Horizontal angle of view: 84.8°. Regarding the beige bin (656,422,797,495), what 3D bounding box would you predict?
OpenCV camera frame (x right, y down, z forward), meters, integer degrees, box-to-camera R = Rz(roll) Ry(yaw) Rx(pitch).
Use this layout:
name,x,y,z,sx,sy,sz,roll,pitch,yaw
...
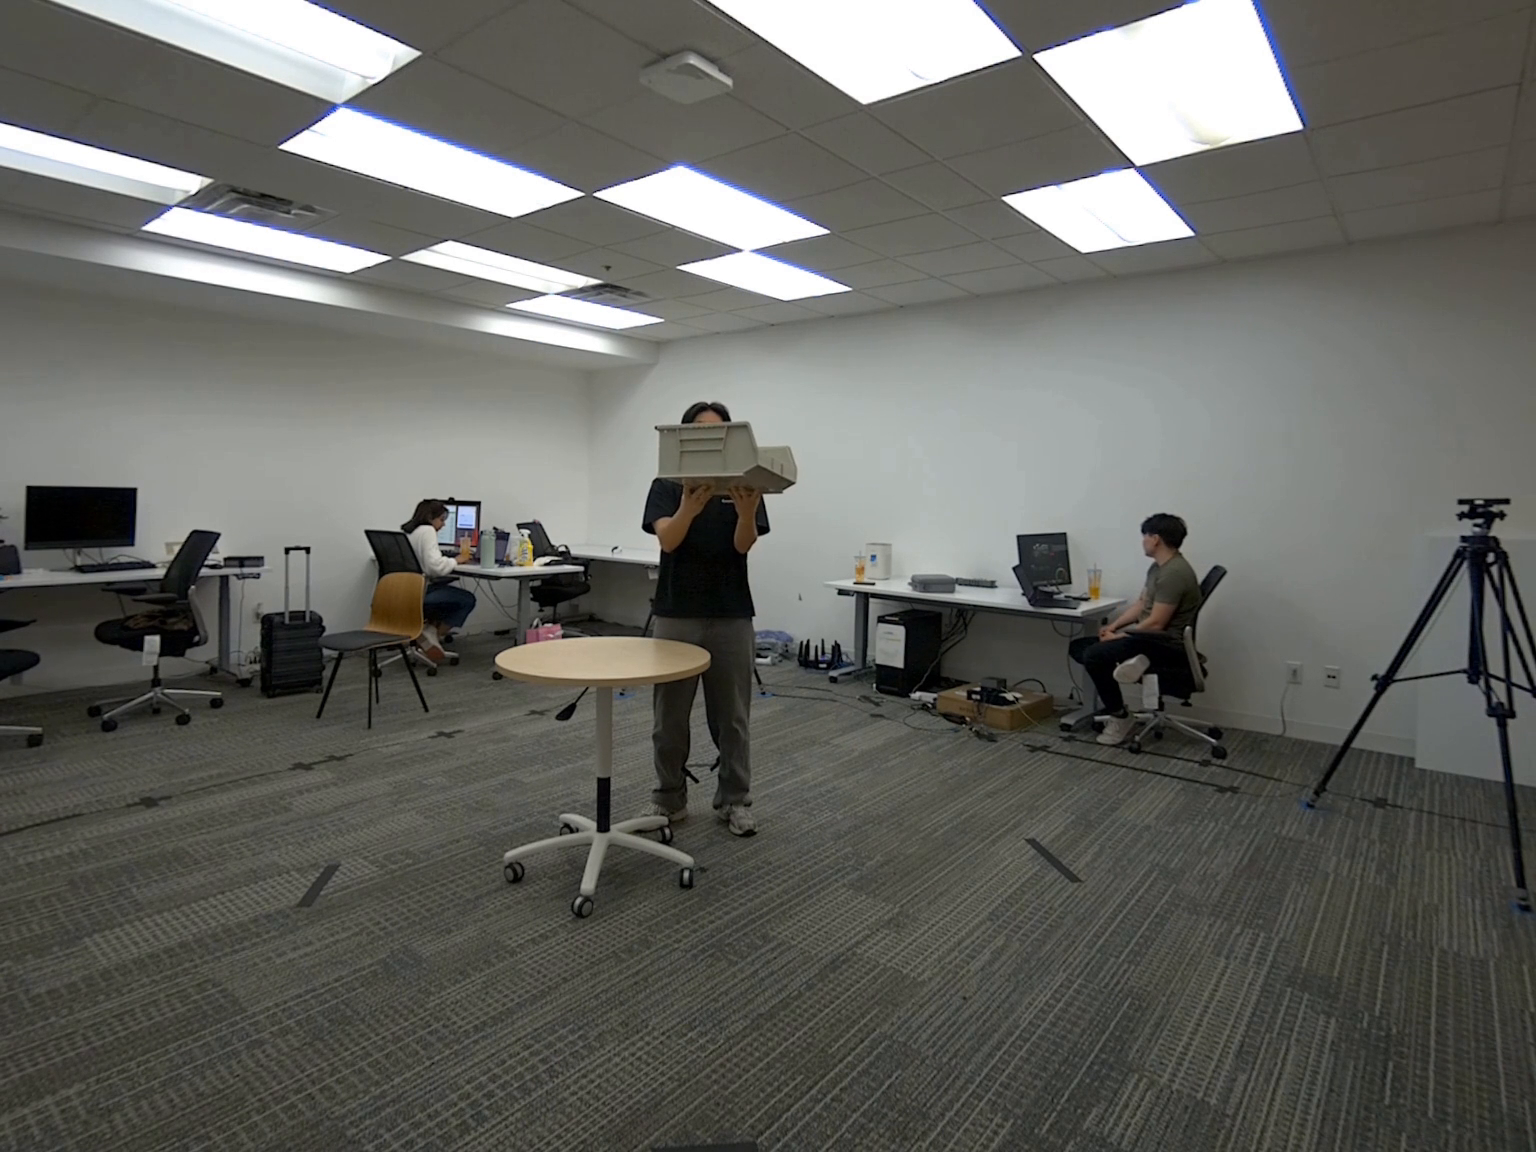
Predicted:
name,x,y,z,sx,sy,sz,roll,pitch,yaw
beige bin,-0.149,-0.405,2.990,0.386,0.189,0.412,1,-2,22
